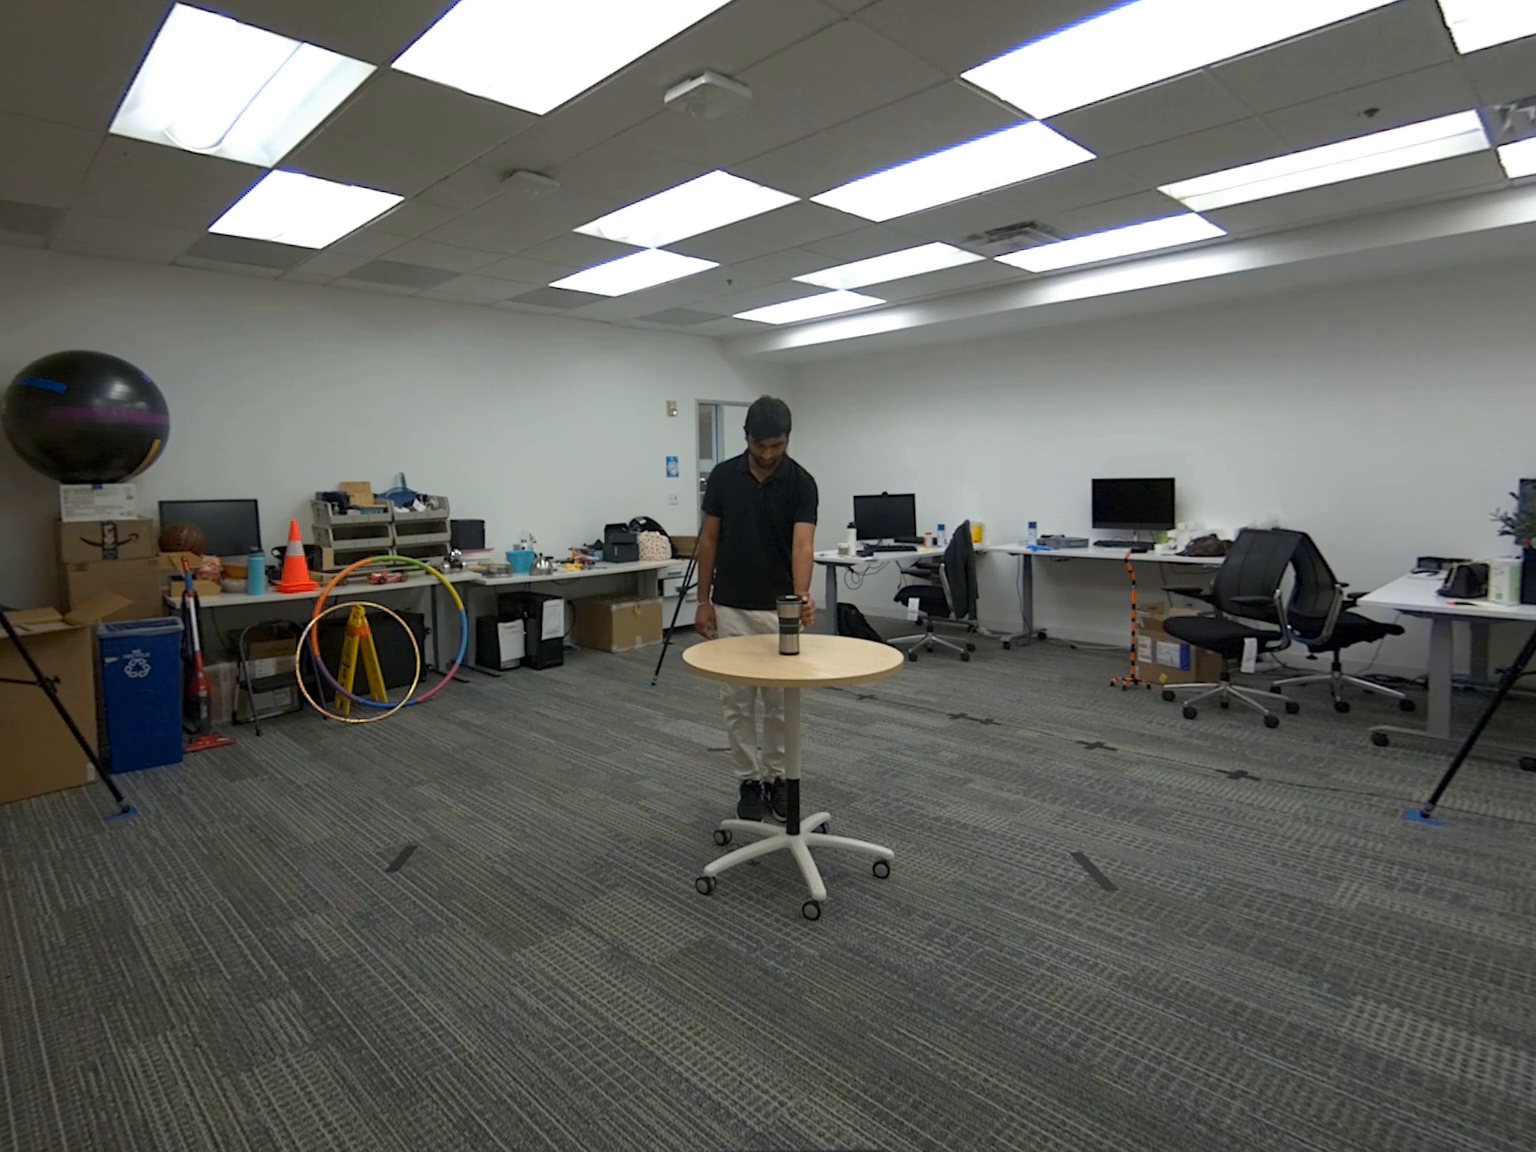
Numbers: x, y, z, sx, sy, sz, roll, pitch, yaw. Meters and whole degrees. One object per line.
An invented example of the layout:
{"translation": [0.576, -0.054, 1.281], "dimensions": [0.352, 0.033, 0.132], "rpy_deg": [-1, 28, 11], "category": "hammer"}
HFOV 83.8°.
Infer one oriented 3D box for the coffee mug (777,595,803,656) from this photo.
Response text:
{"translation": [0.097, 0.176, 2.993], "dimensions": [0.119, 0.203, 0.090], "rpy_deg": [-6, 2, -25], "category": "coffee mug"}
